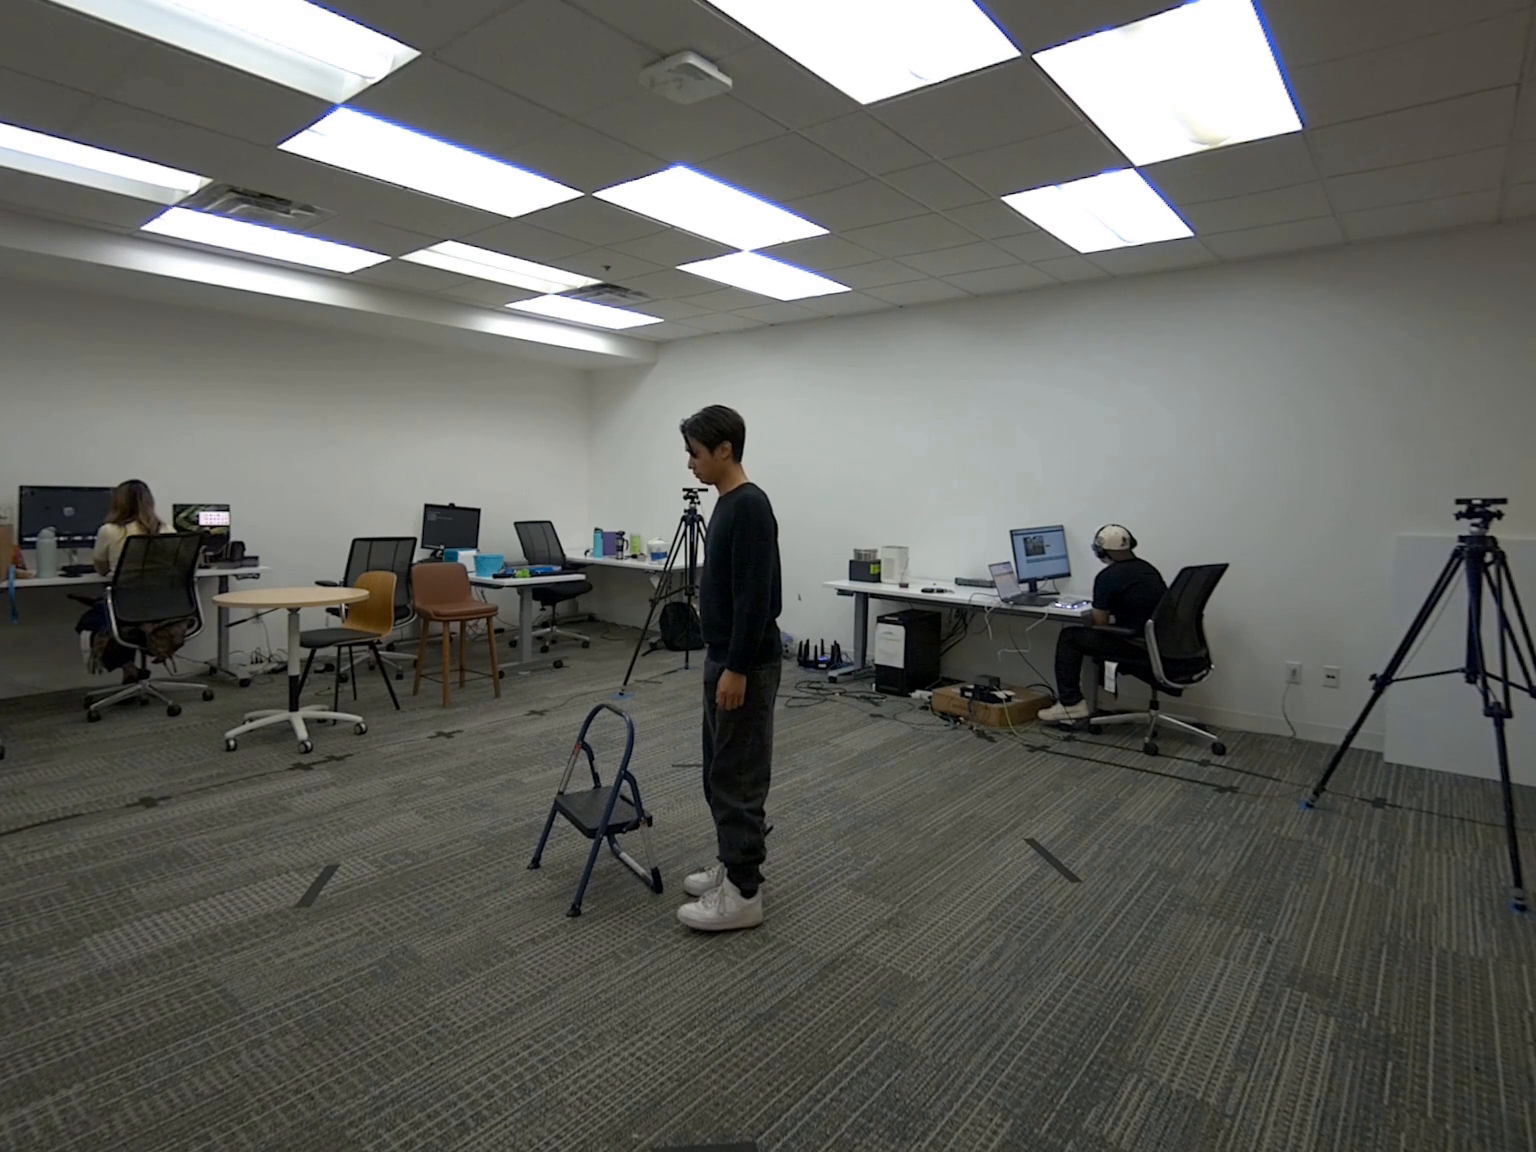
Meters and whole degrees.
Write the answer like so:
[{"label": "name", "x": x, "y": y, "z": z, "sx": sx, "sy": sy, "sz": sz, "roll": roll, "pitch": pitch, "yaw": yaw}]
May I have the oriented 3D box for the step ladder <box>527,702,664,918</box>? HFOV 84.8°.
[{"label": "step ladder", "x": -0.621, "y": 0.771, "z": 2.993, "sx": 0.339, "sy": 0.604, "sz": 0.444, "roll": -1, "pitch": 4, "yaw": -33}]
